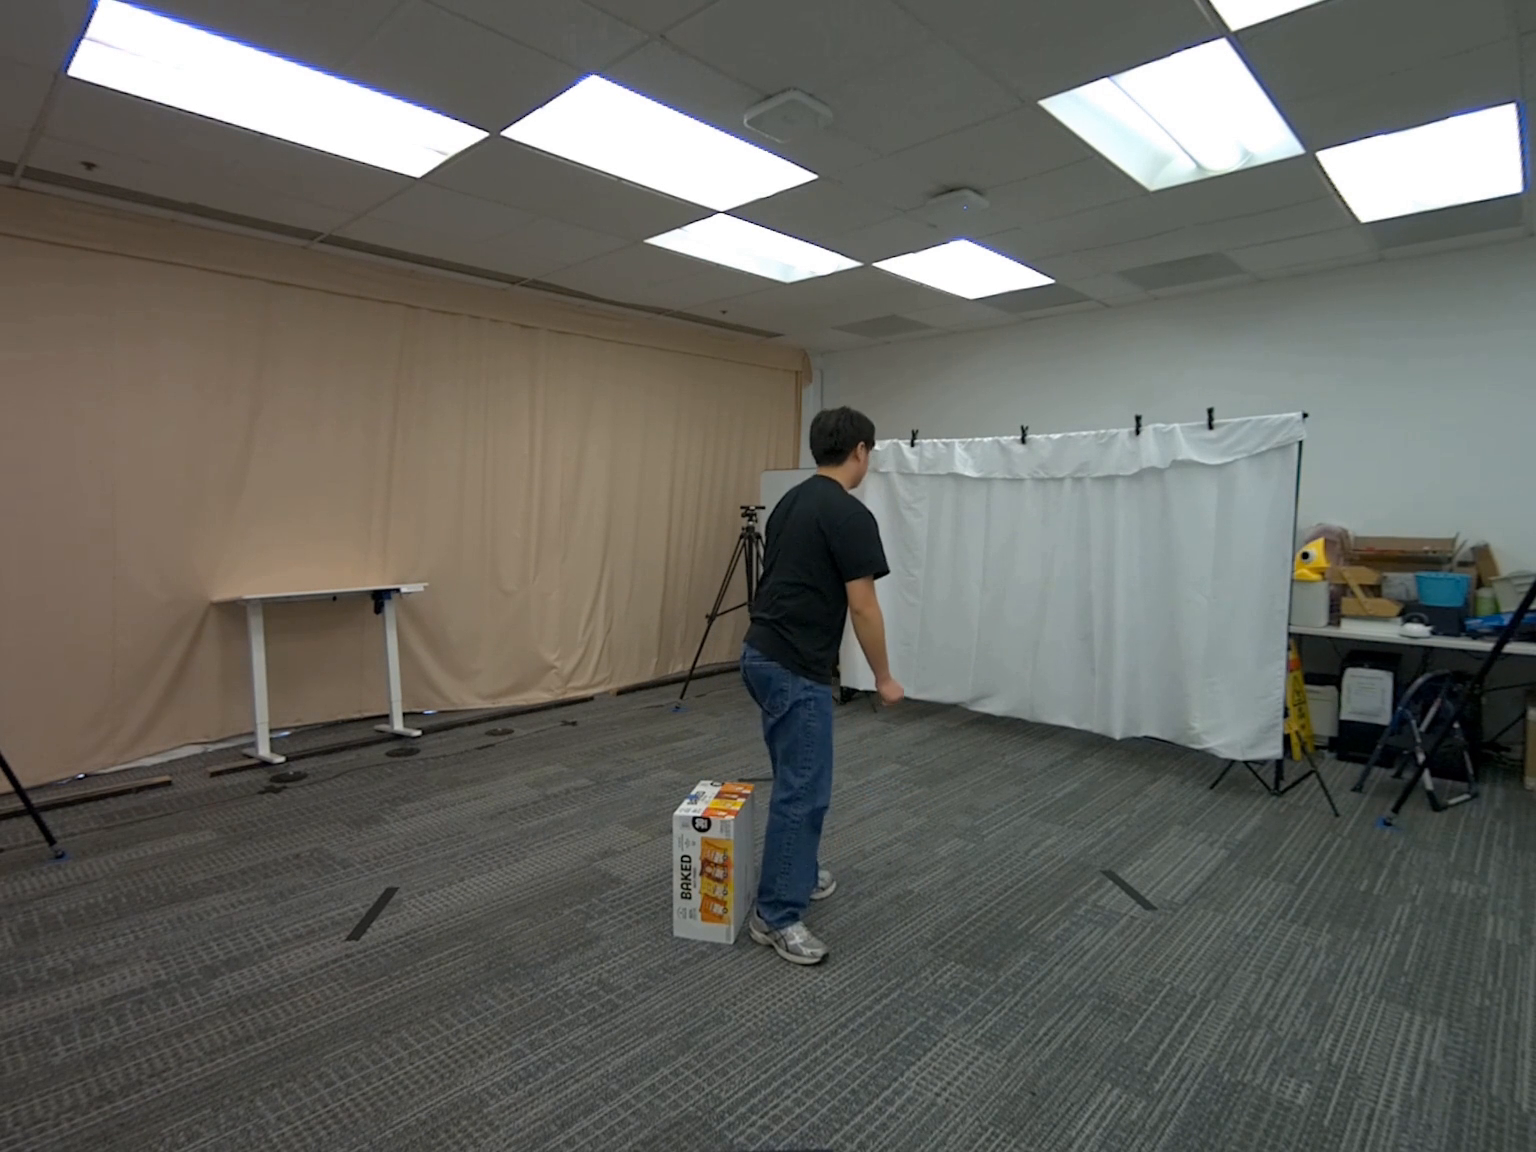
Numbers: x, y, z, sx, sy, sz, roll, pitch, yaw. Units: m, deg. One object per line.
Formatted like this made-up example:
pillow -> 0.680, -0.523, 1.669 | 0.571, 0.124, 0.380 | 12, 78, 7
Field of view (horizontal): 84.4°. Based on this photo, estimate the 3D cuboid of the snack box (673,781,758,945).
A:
snack box -> -0.172, 0.955, 2.851 | 0.209, 0.404, 0.336 | 0, 3, 12
